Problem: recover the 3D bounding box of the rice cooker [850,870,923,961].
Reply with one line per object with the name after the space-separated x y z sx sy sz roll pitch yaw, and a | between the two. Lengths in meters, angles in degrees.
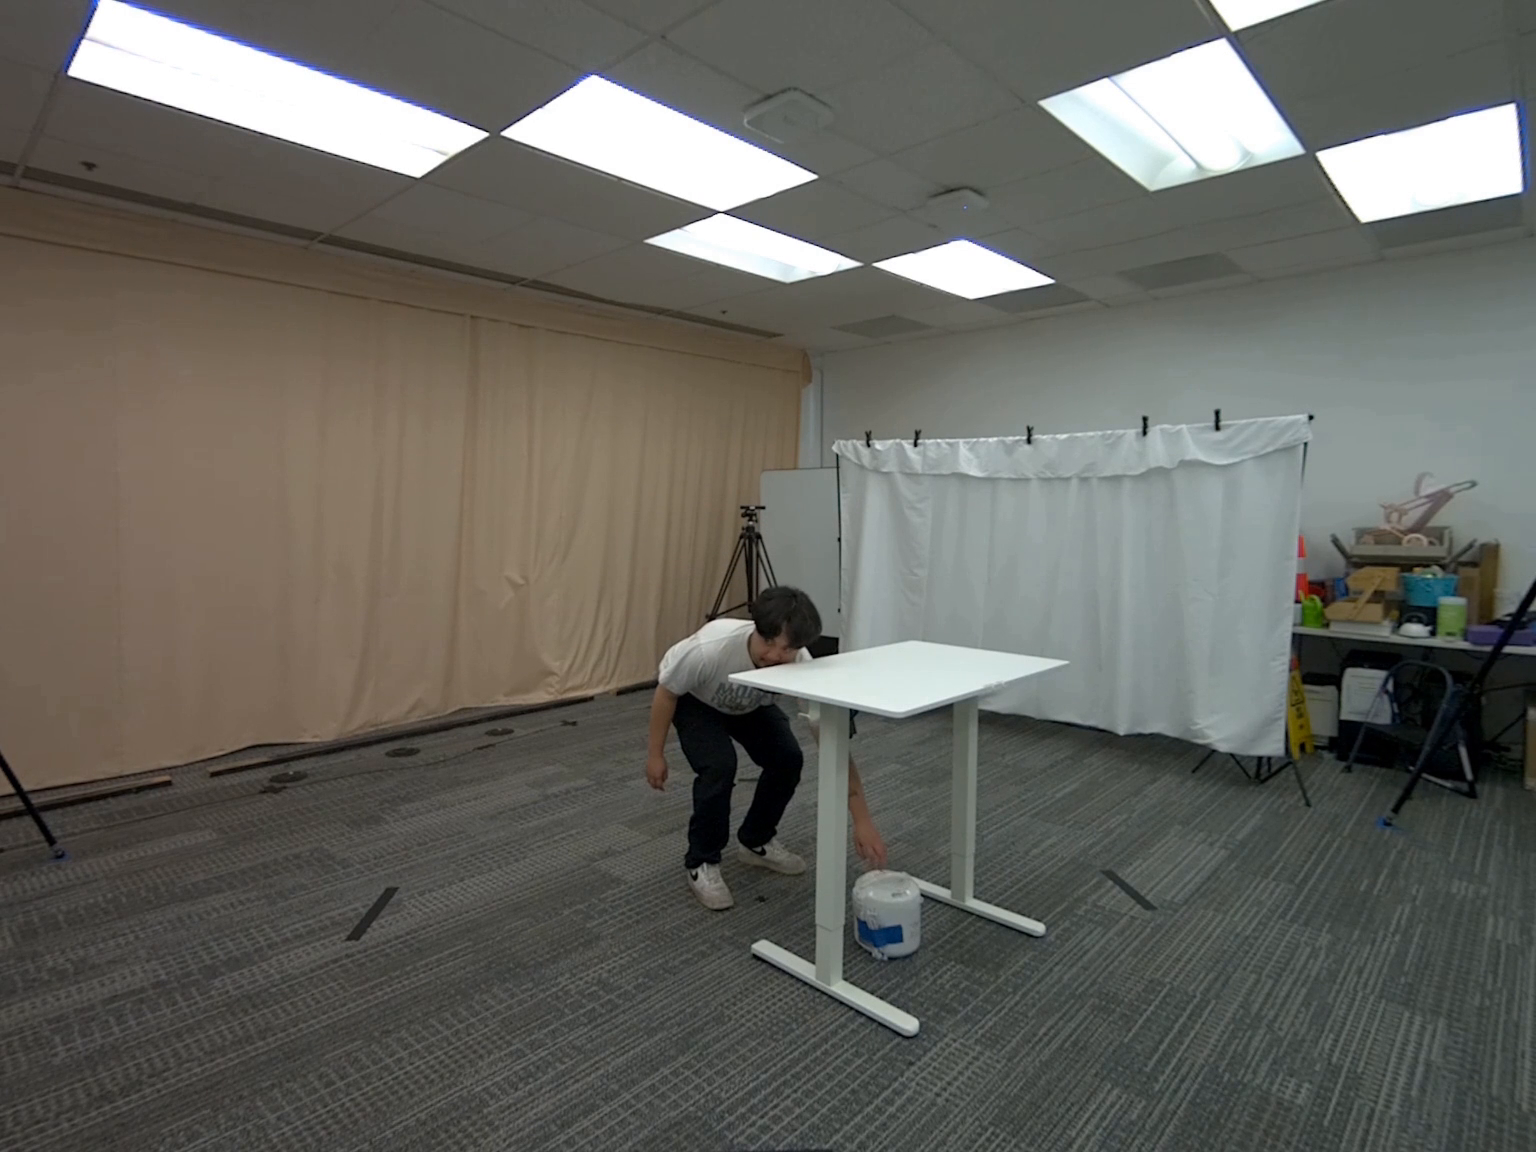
0.380 1.054 2.668 0.216 0.232 0.222 -1 4 -18 | rice cooker
